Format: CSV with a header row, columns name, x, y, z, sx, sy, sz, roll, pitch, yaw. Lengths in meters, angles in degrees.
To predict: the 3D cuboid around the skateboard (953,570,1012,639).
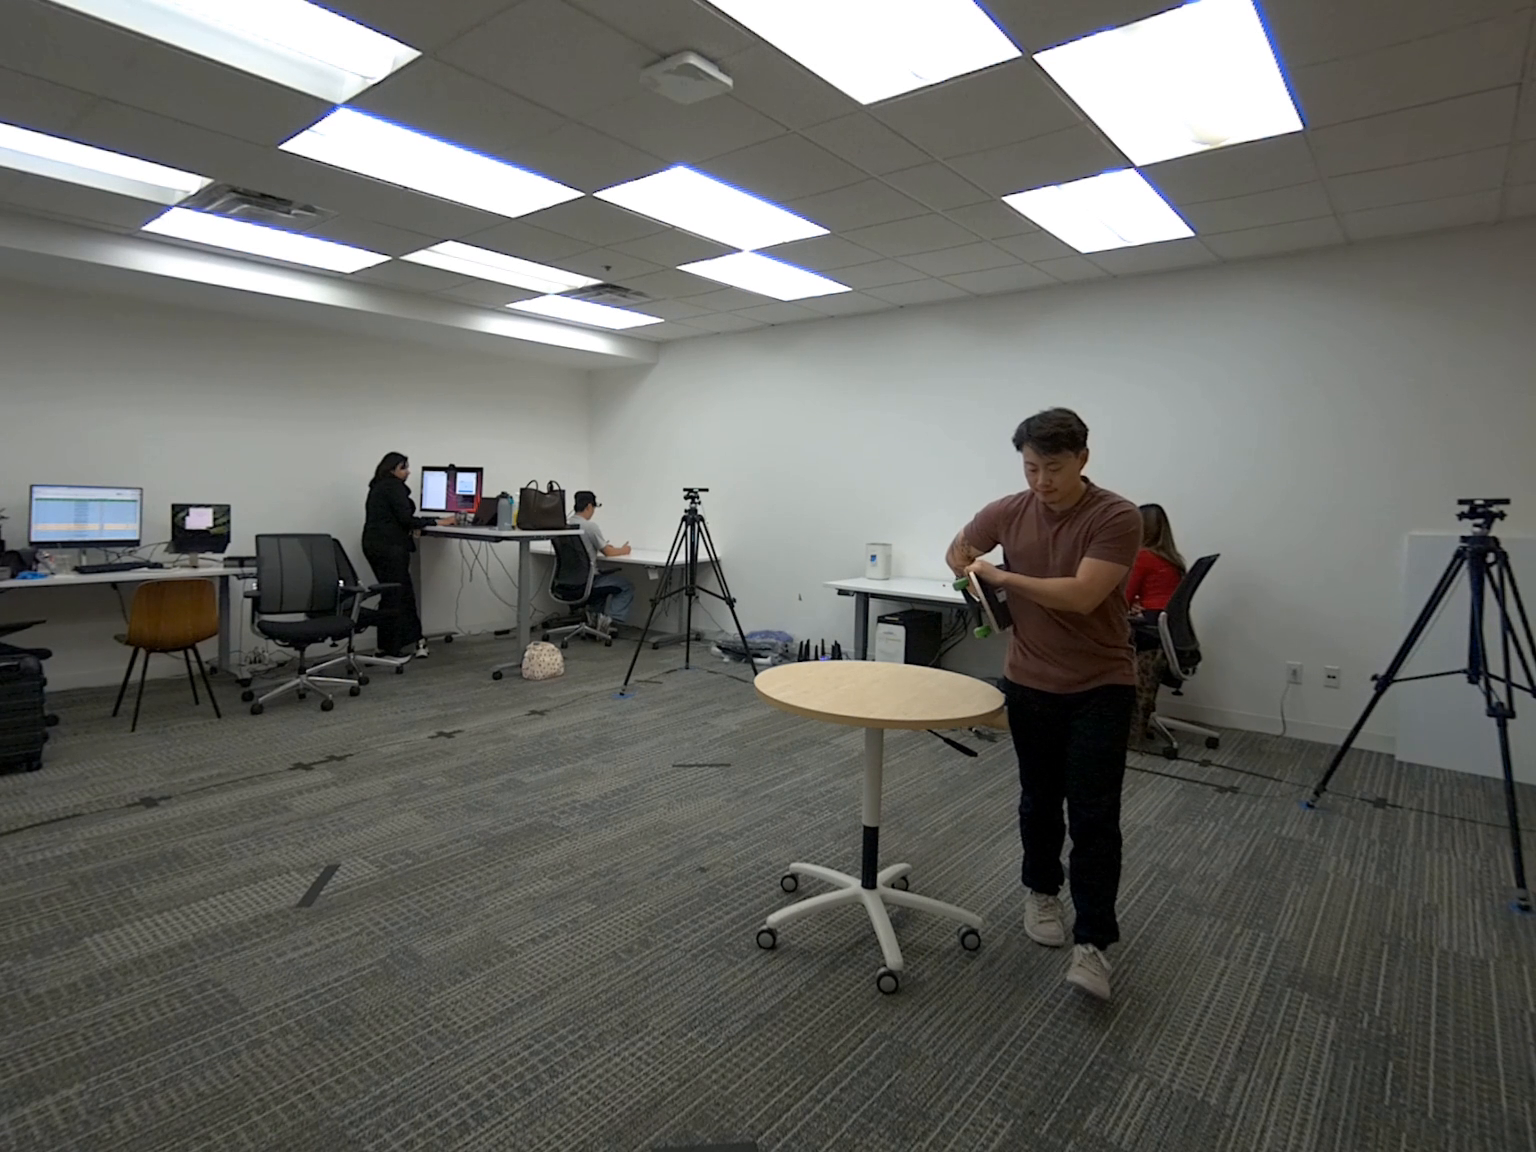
name,x,y,z,sx,sy,sz,roll,pitch,yaw
skateboard,0.704,0.068,2.701,0.112,0.195,0.768,-25,-6,24
